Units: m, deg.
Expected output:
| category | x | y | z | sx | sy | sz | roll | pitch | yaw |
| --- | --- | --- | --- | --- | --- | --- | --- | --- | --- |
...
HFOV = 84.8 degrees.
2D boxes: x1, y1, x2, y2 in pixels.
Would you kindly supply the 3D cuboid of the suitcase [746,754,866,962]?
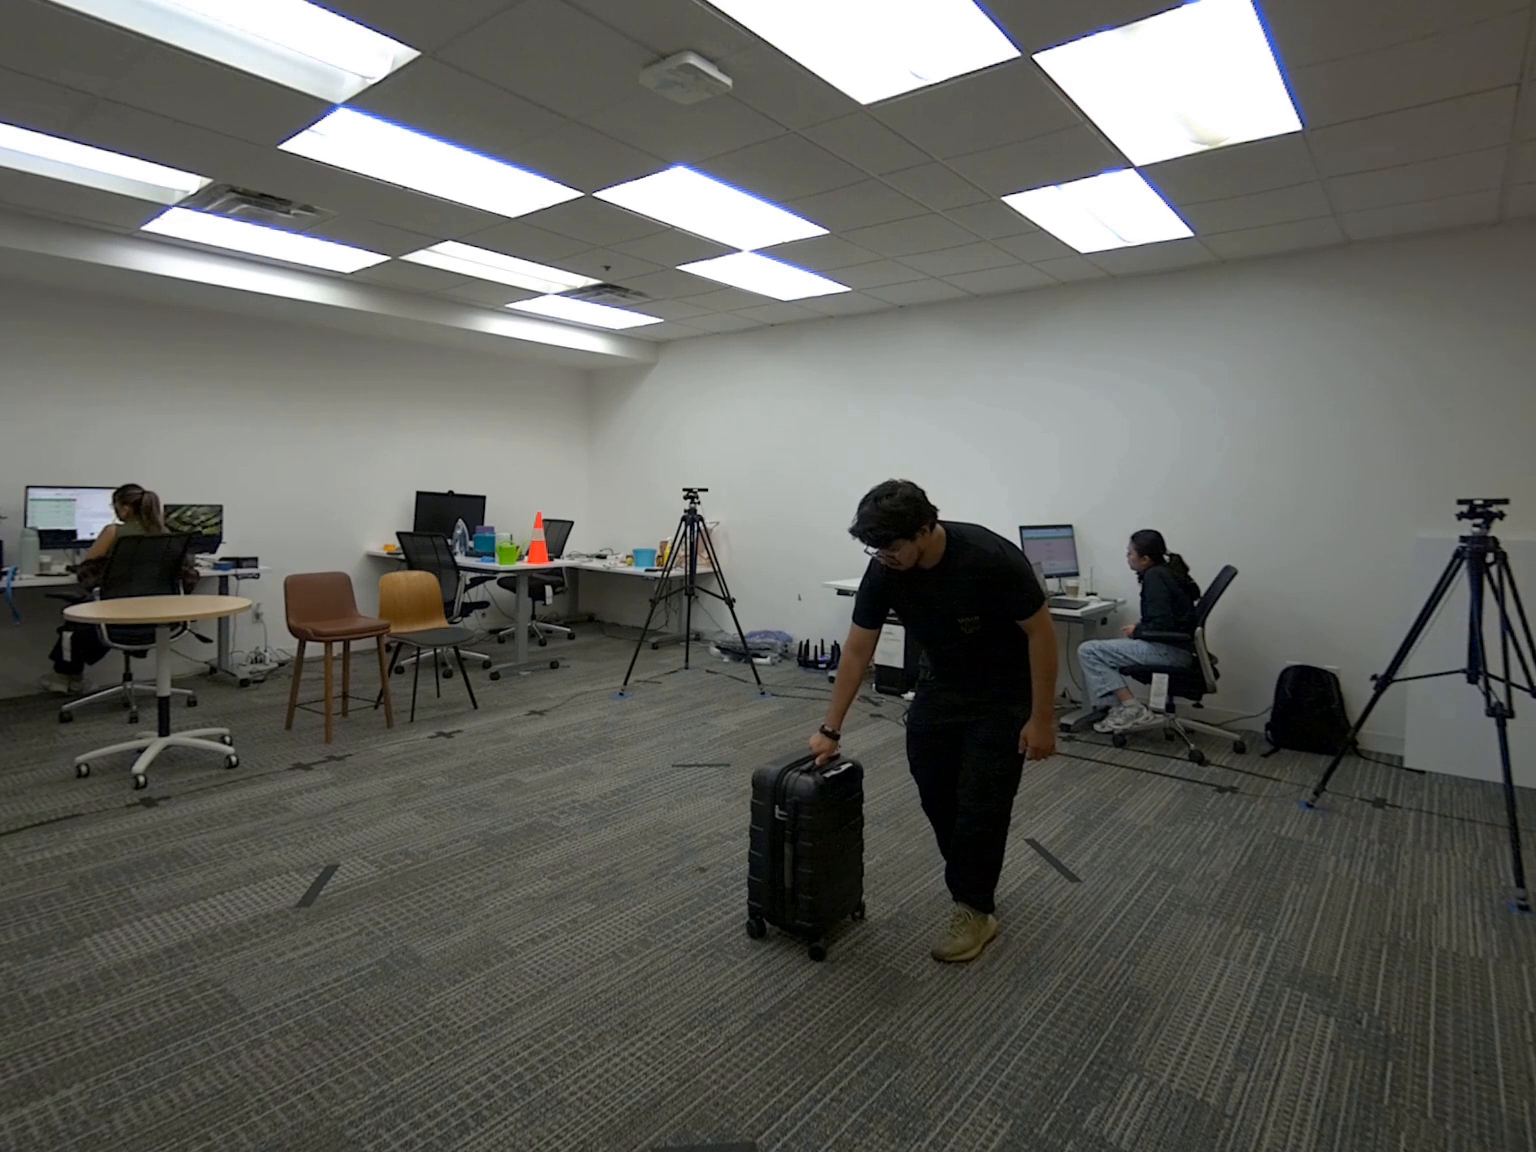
| category | x | y | z | sx | sy | sz | roll | pitch | yaw |
| --- | --- | --- | --- | --- | --- | --- | --- | --- | --- |
| suitcase | 0.121 | 0.841 | 2.707 | 0.256 | 0.548 | 0.364 | 3 | 3 | 36 |
